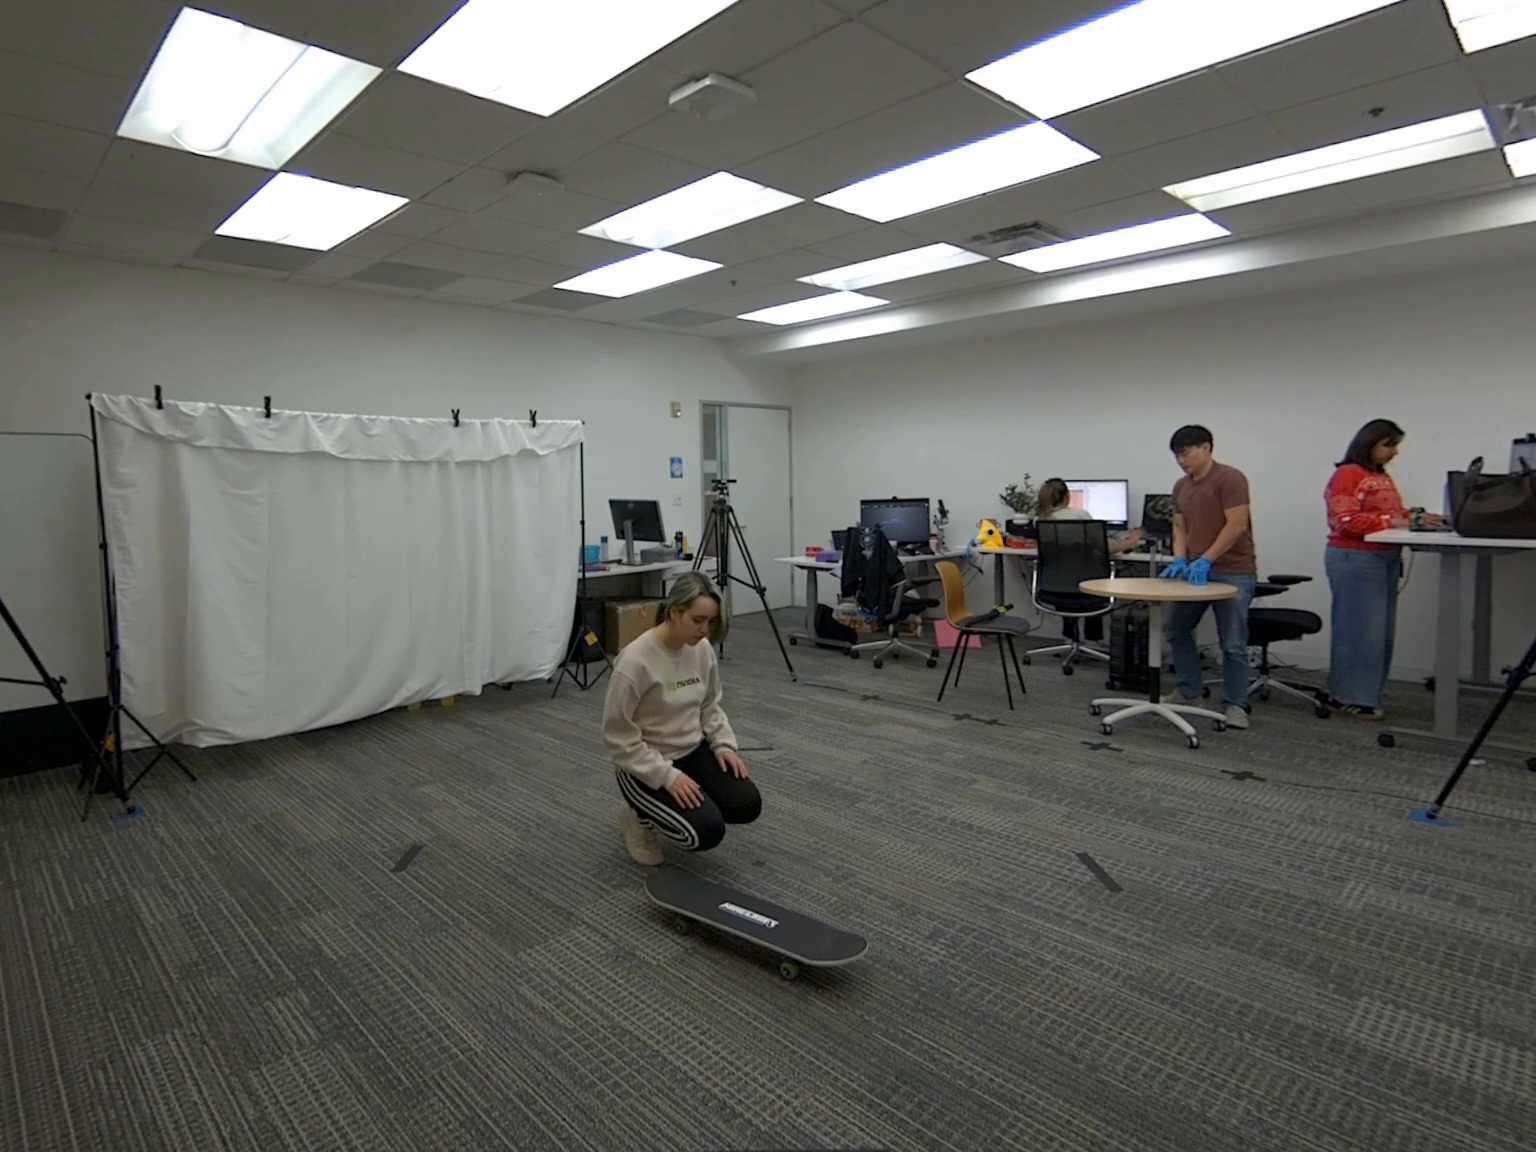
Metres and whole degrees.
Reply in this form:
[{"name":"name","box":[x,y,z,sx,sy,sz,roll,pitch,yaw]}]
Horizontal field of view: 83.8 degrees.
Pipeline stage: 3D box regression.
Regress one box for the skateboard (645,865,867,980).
[{"name":"skateboard","box":[-0.059,1.055,2.572,0.808,0.110,0.189,3,8,37]}]
